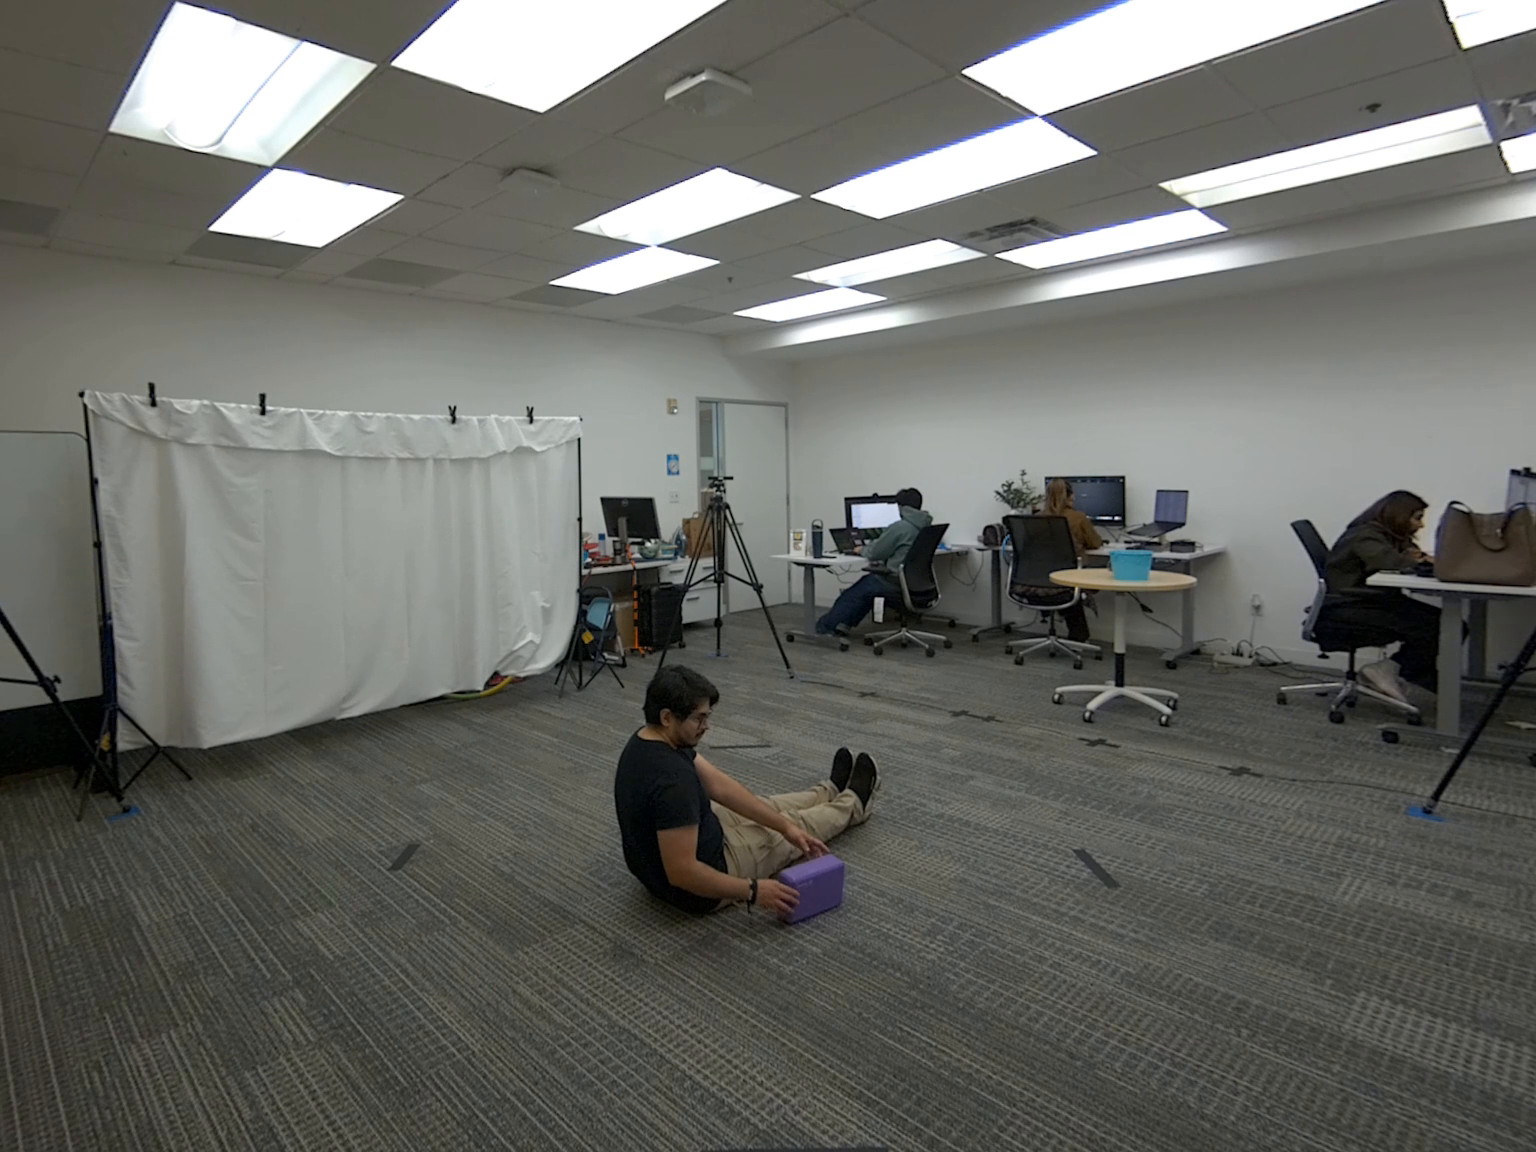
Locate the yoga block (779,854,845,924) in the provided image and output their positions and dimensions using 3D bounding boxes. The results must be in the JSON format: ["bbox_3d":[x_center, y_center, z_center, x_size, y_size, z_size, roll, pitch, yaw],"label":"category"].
[{"bbox_3d":[0.128,0.993,2.728,0.223,0.148,0.079,-4,10,-37],"label":"yoga block"}]
